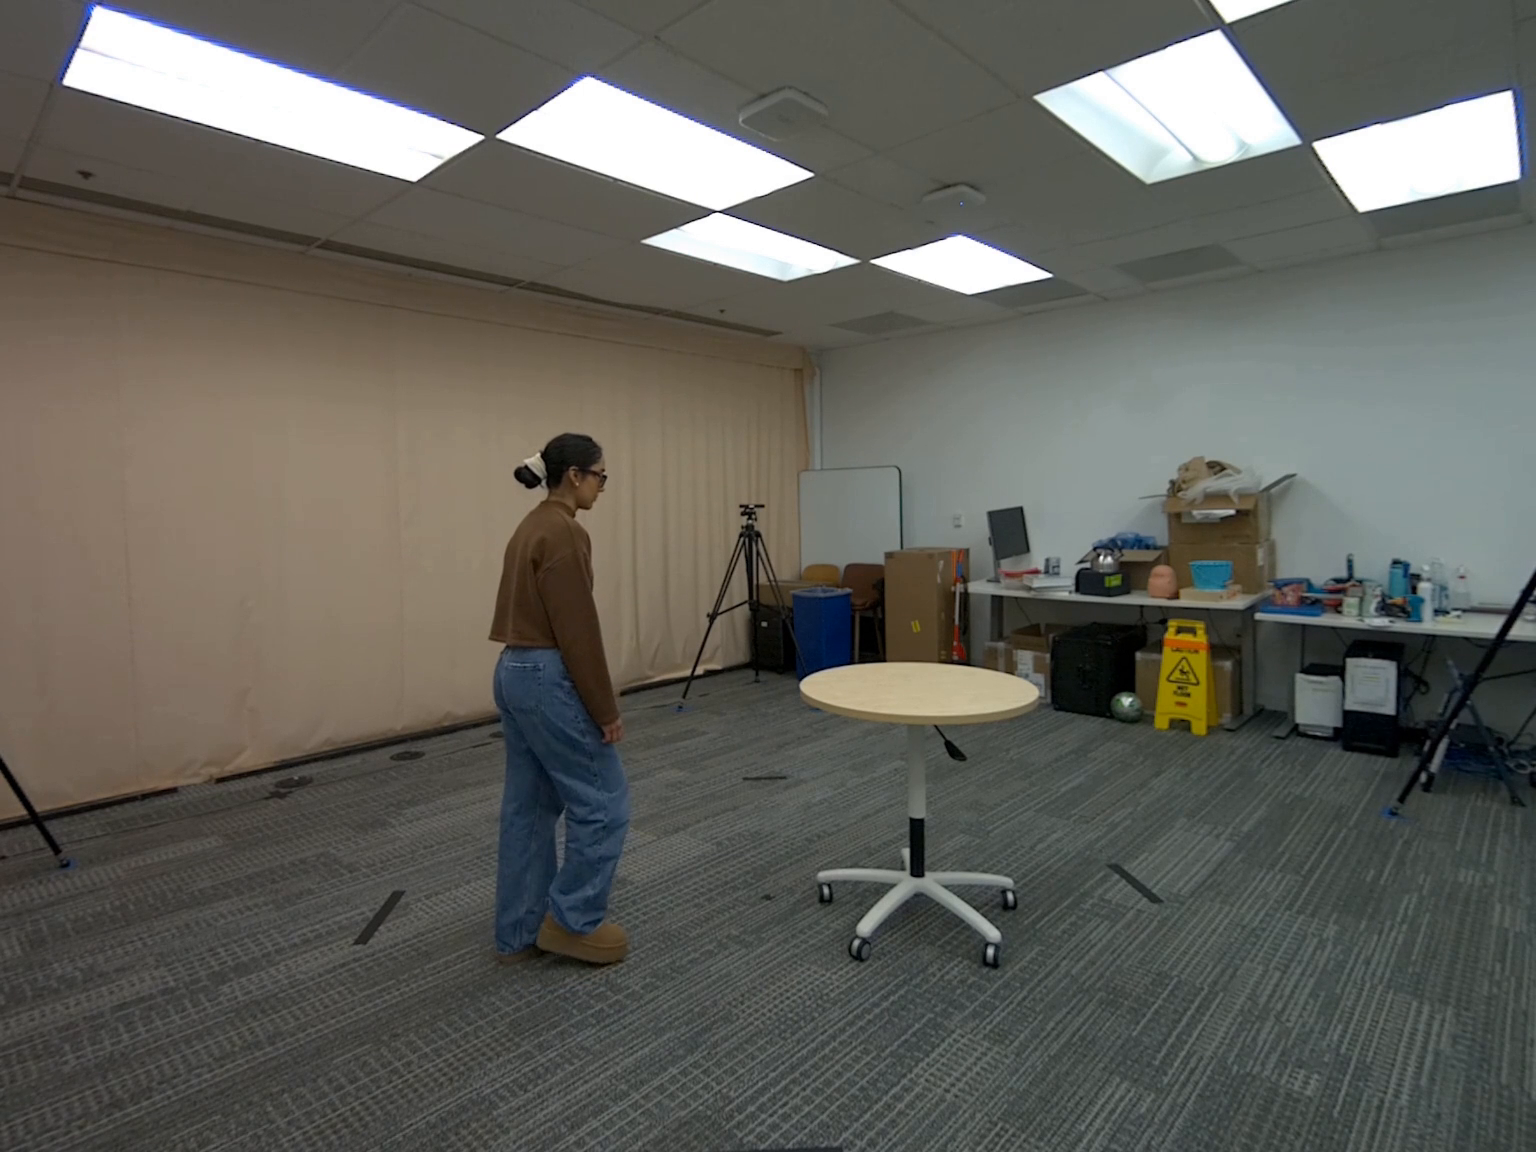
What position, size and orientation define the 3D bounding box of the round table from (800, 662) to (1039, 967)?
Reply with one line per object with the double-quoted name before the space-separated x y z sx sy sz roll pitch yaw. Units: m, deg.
"round table" 0.508 0.753 2.791 0.784 0.785 0.788 -1 4 -2
